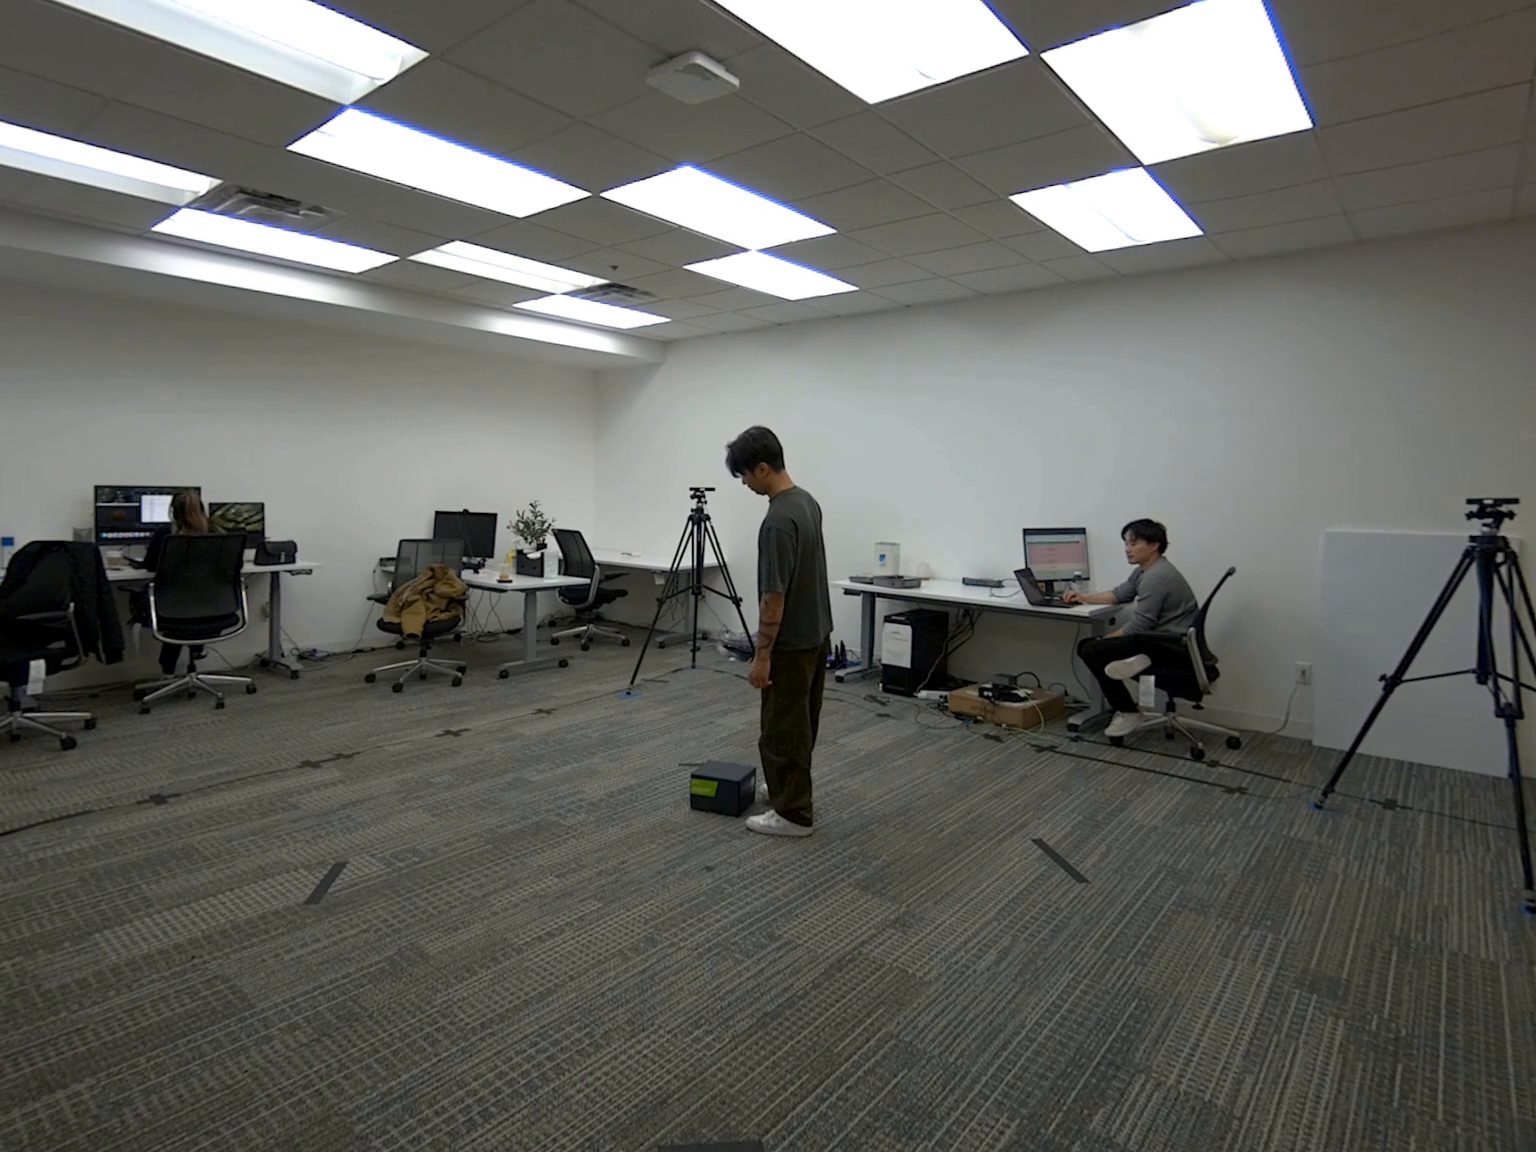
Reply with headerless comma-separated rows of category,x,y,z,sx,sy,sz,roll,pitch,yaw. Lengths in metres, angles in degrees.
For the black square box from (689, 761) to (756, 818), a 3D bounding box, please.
black square box,-0.209,0.923,3.736,0.233,0.155,0.213,3,5,20
